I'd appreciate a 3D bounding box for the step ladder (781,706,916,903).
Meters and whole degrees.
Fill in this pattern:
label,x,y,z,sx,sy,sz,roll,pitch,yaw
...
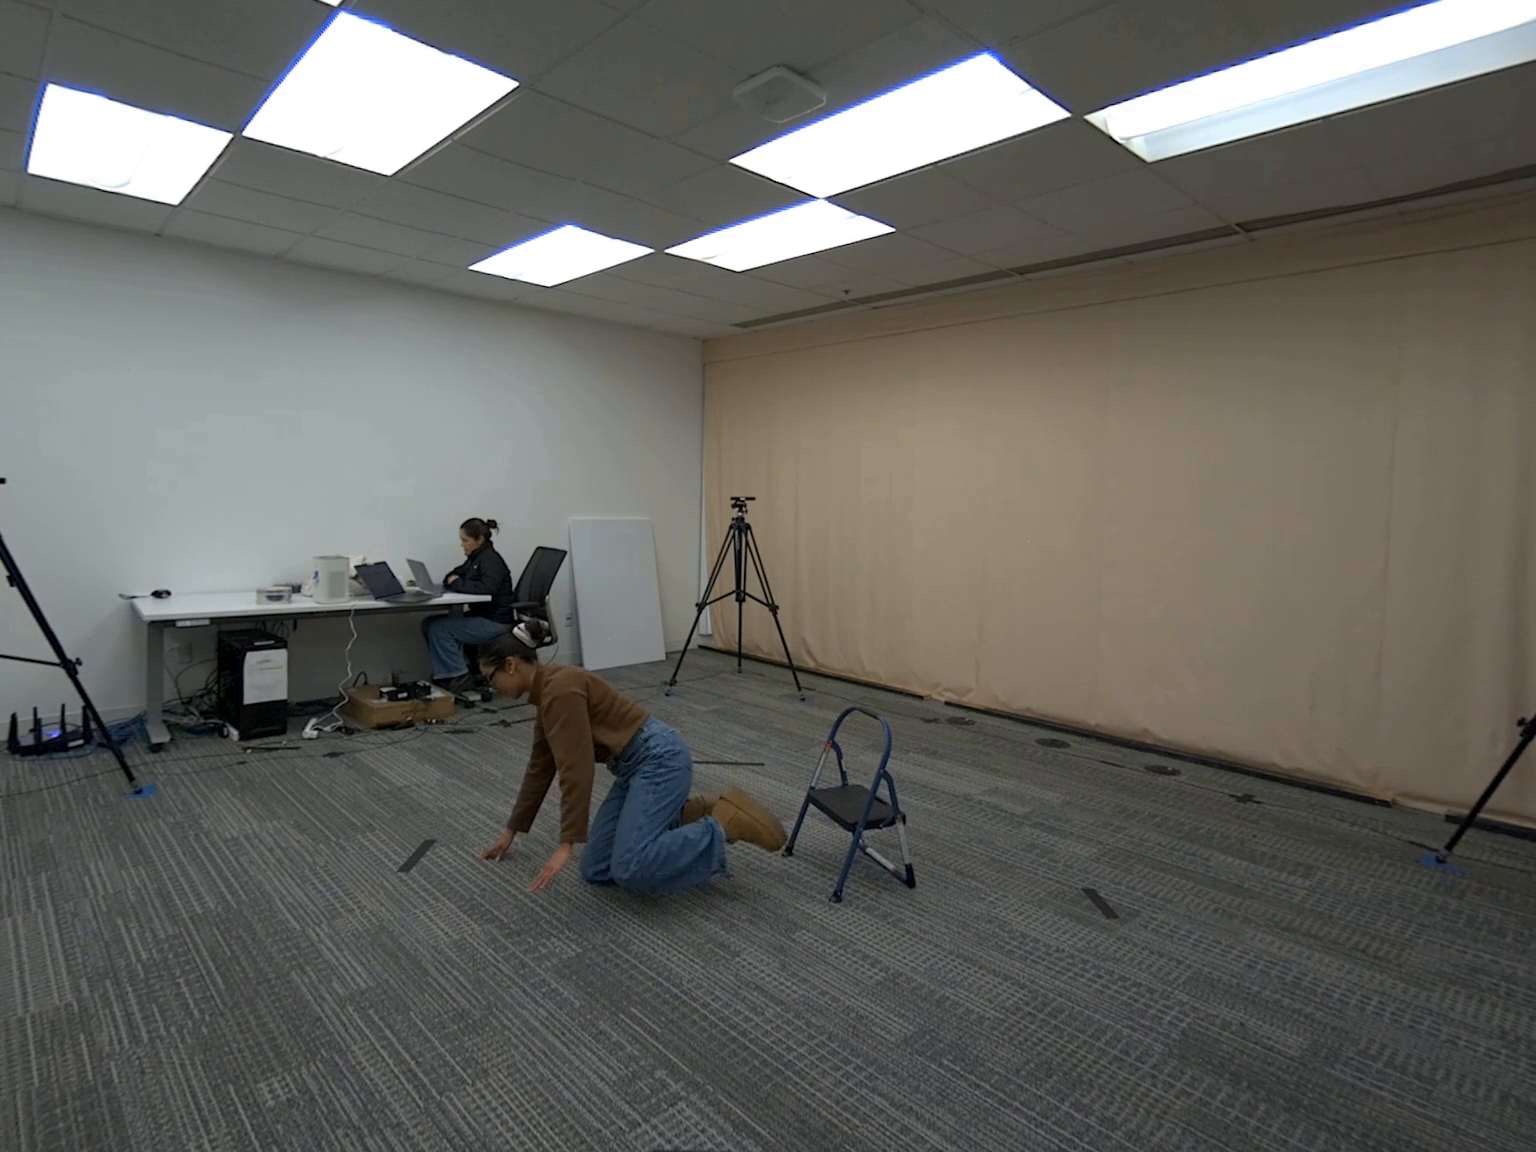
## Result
label,x,y,z,sx,sy,sz,roll,pitch,yaw
step ladder,0.303,0.812,3.156,0.343,0.605,0.439,0,4,-24
